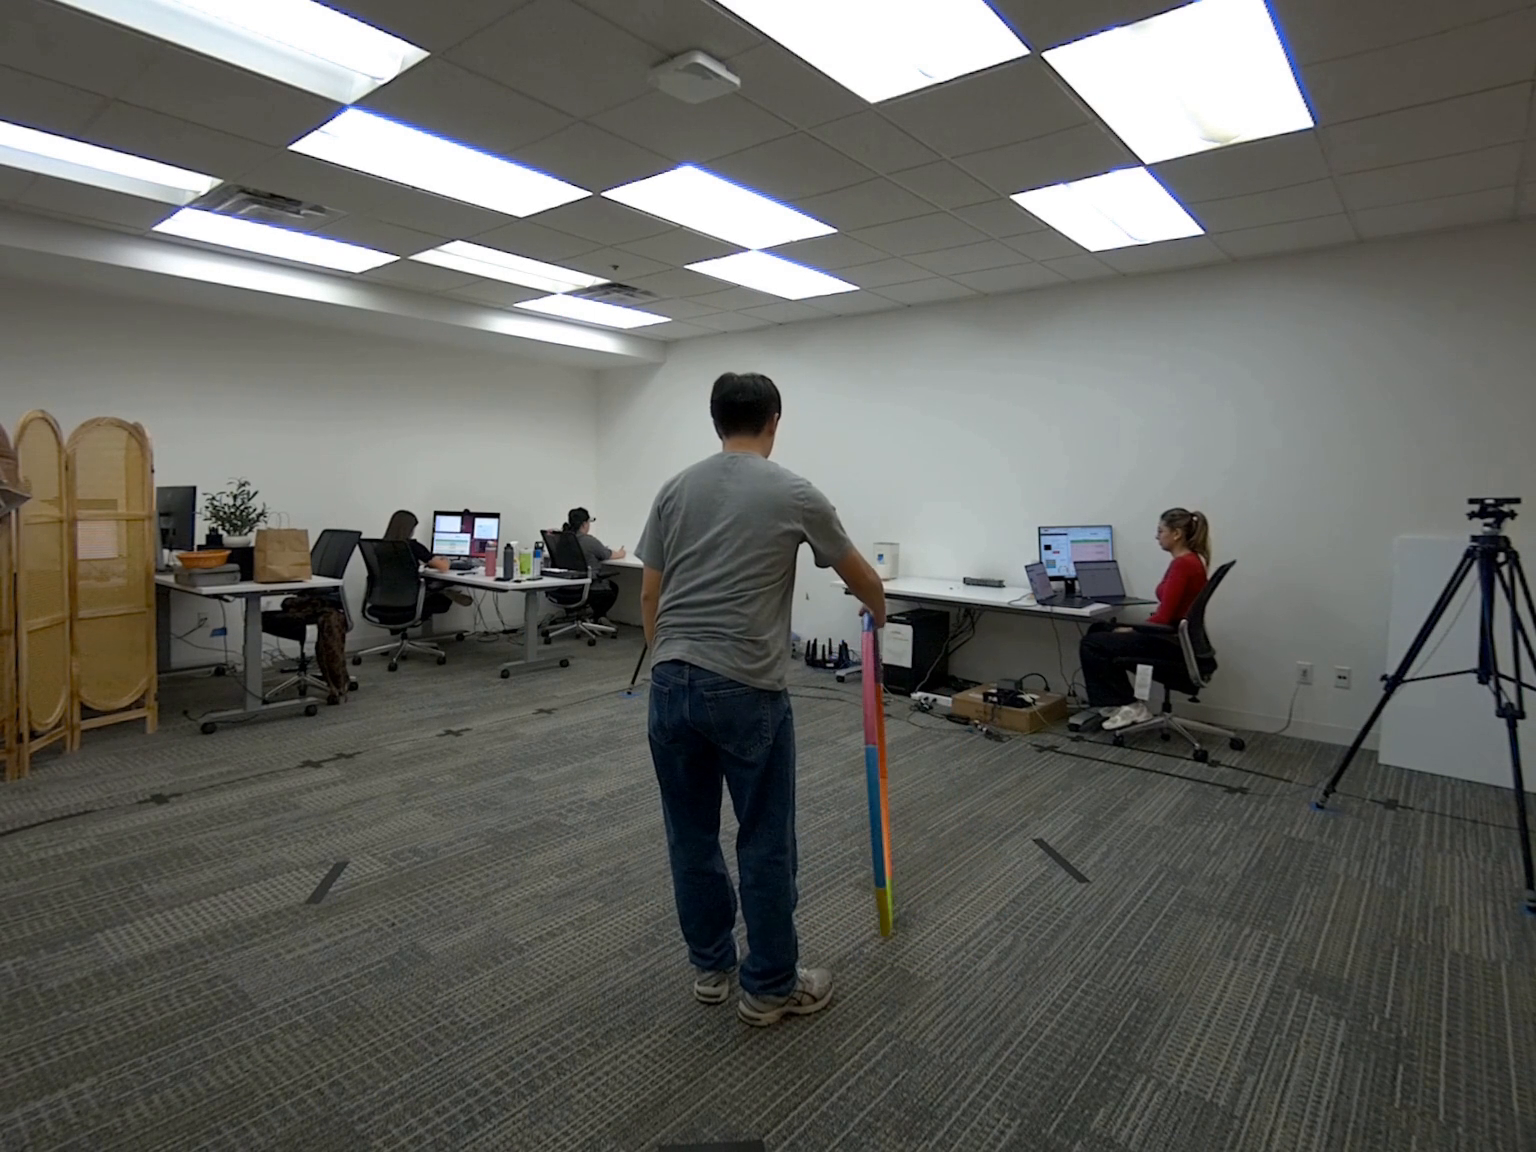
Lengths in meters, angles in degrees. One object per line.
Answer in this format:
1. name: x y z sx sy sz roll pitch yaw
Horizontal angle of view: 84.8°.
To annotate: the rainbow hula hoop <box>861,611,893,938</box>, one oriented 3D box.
1. rainbow hula hoop: 0.339 0.606 2.694 0.036 0.977 0.970 -4 3 9
